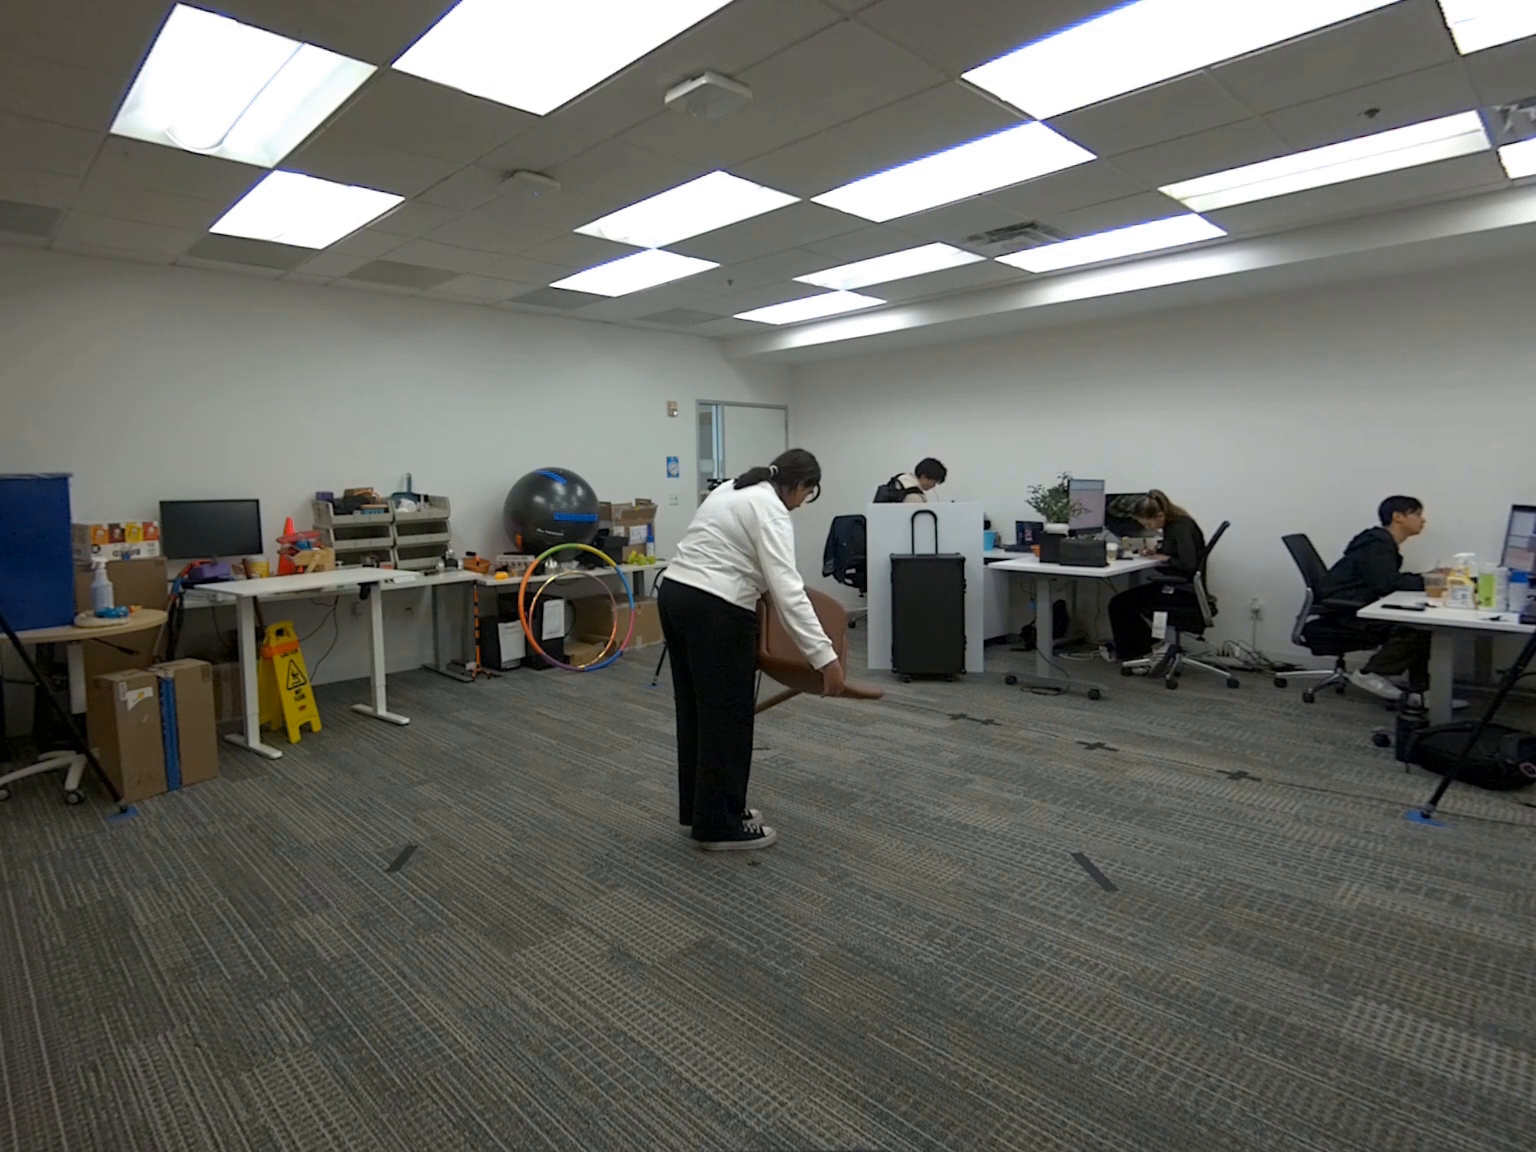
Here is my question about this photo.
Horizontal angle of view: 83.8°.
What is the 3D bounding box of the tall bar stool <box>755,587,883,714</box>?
[{"bbox_3d":[0.042,0.292,3.497,0.441,0.475,0.905,26,-28,-32],"label":"tall bar stool"}]
